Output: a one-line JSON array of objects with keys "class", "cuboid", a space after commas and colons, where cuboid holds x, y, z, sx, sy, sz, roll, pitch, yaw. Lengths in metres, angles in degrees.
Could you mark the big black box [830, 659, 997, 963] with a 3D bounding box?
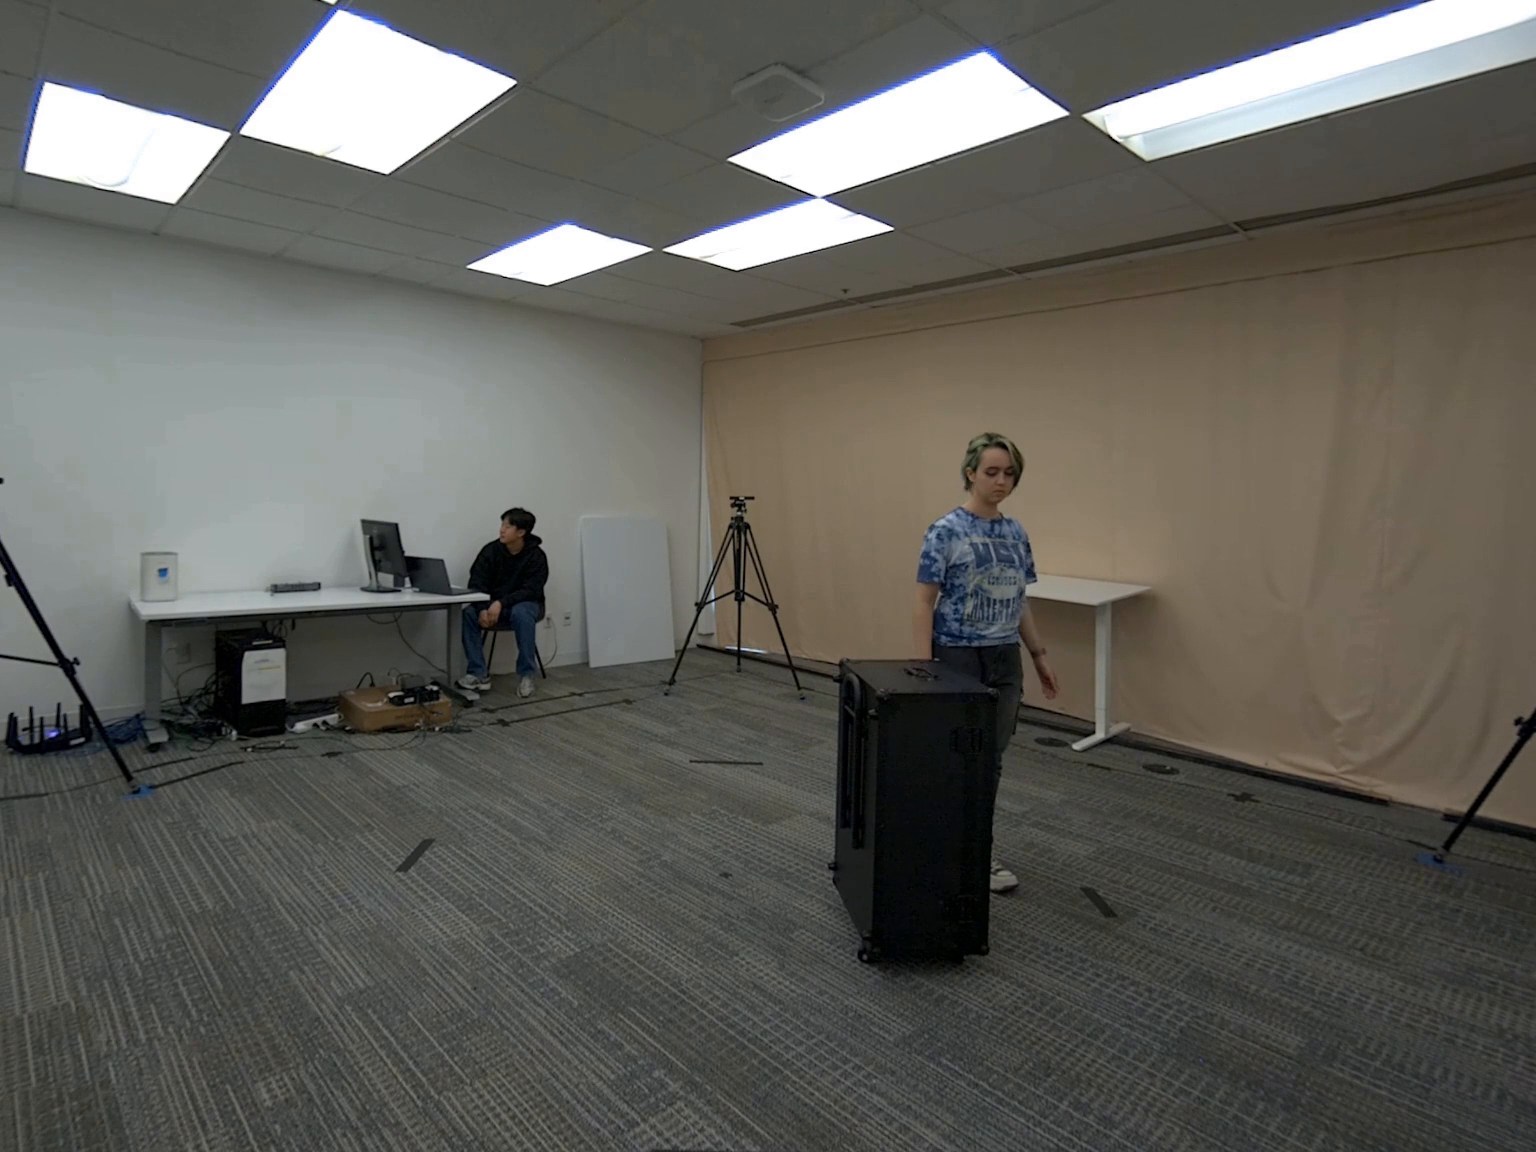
[{"class": "big black box", "cuboid": [0.431, 0.736, 2.657, 0.394, 0.859, 0.525, 0, 4, -7]}]
